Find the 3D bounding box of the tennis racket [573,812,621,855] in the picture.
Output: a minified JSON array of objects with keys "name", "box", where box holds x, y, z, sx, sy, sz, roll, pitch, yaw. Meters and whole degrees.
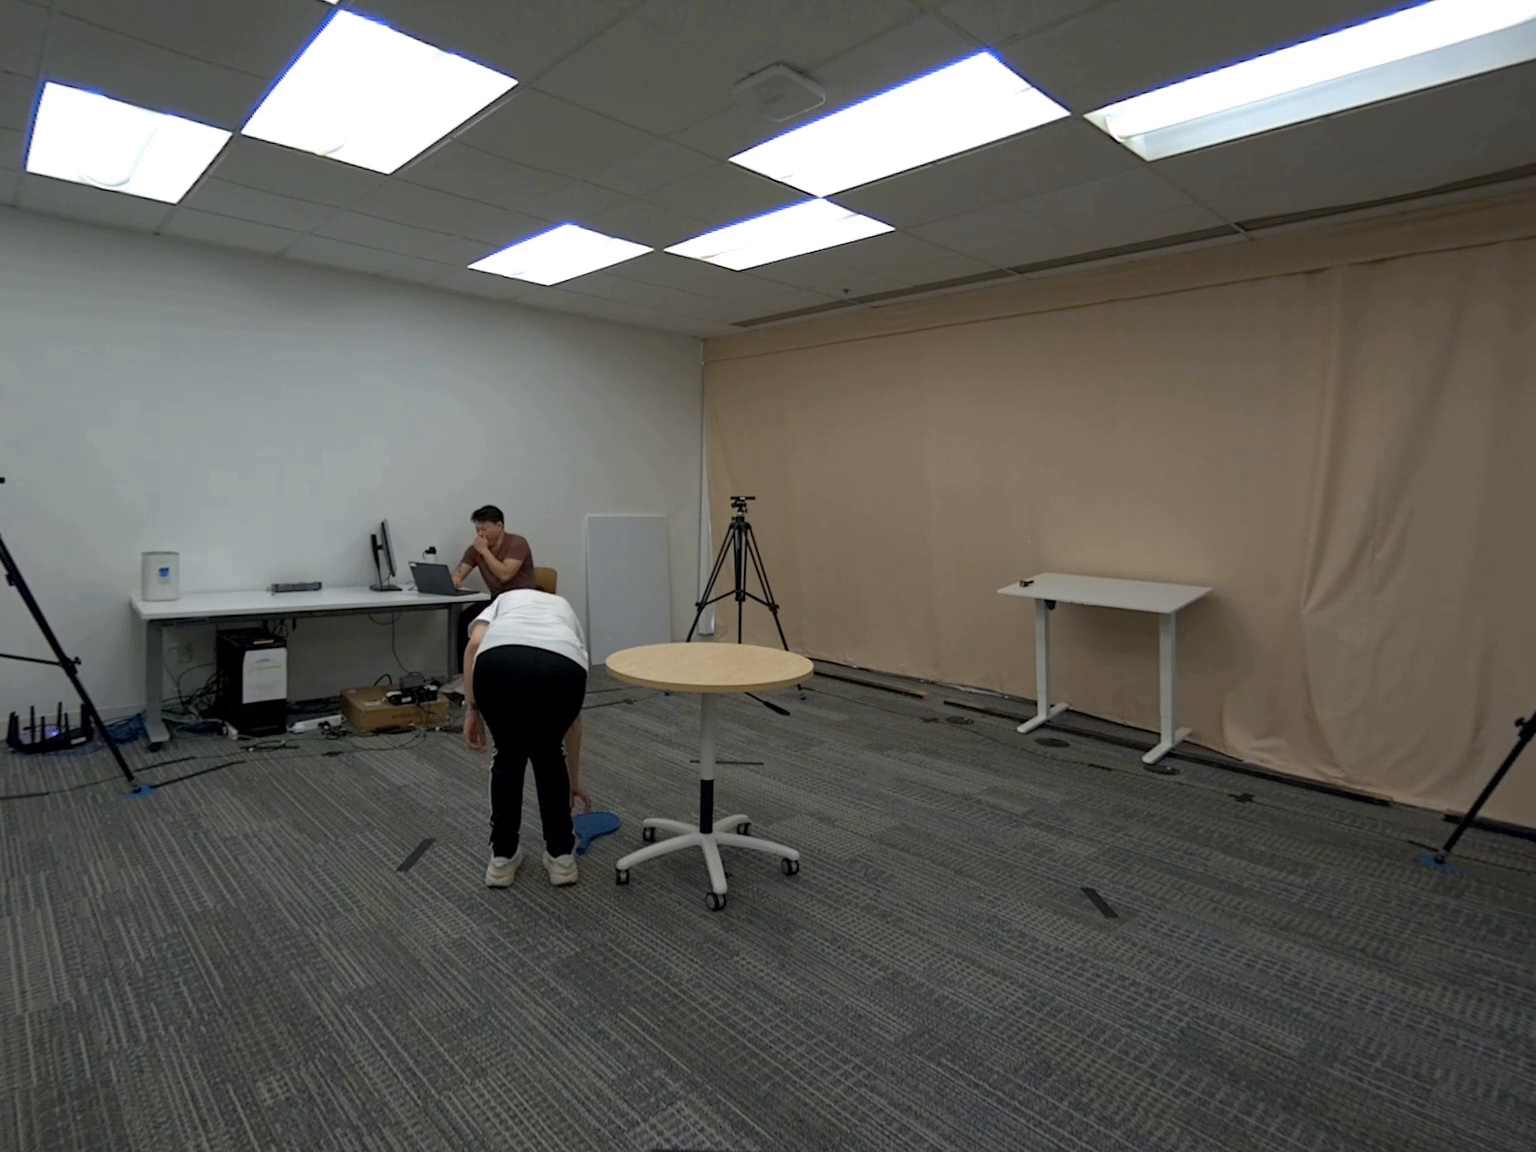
[{"name":"tennis racket","box":[-0.733,1.044,3.460,0.214,0.032,0.433,2,4,-1]}]
